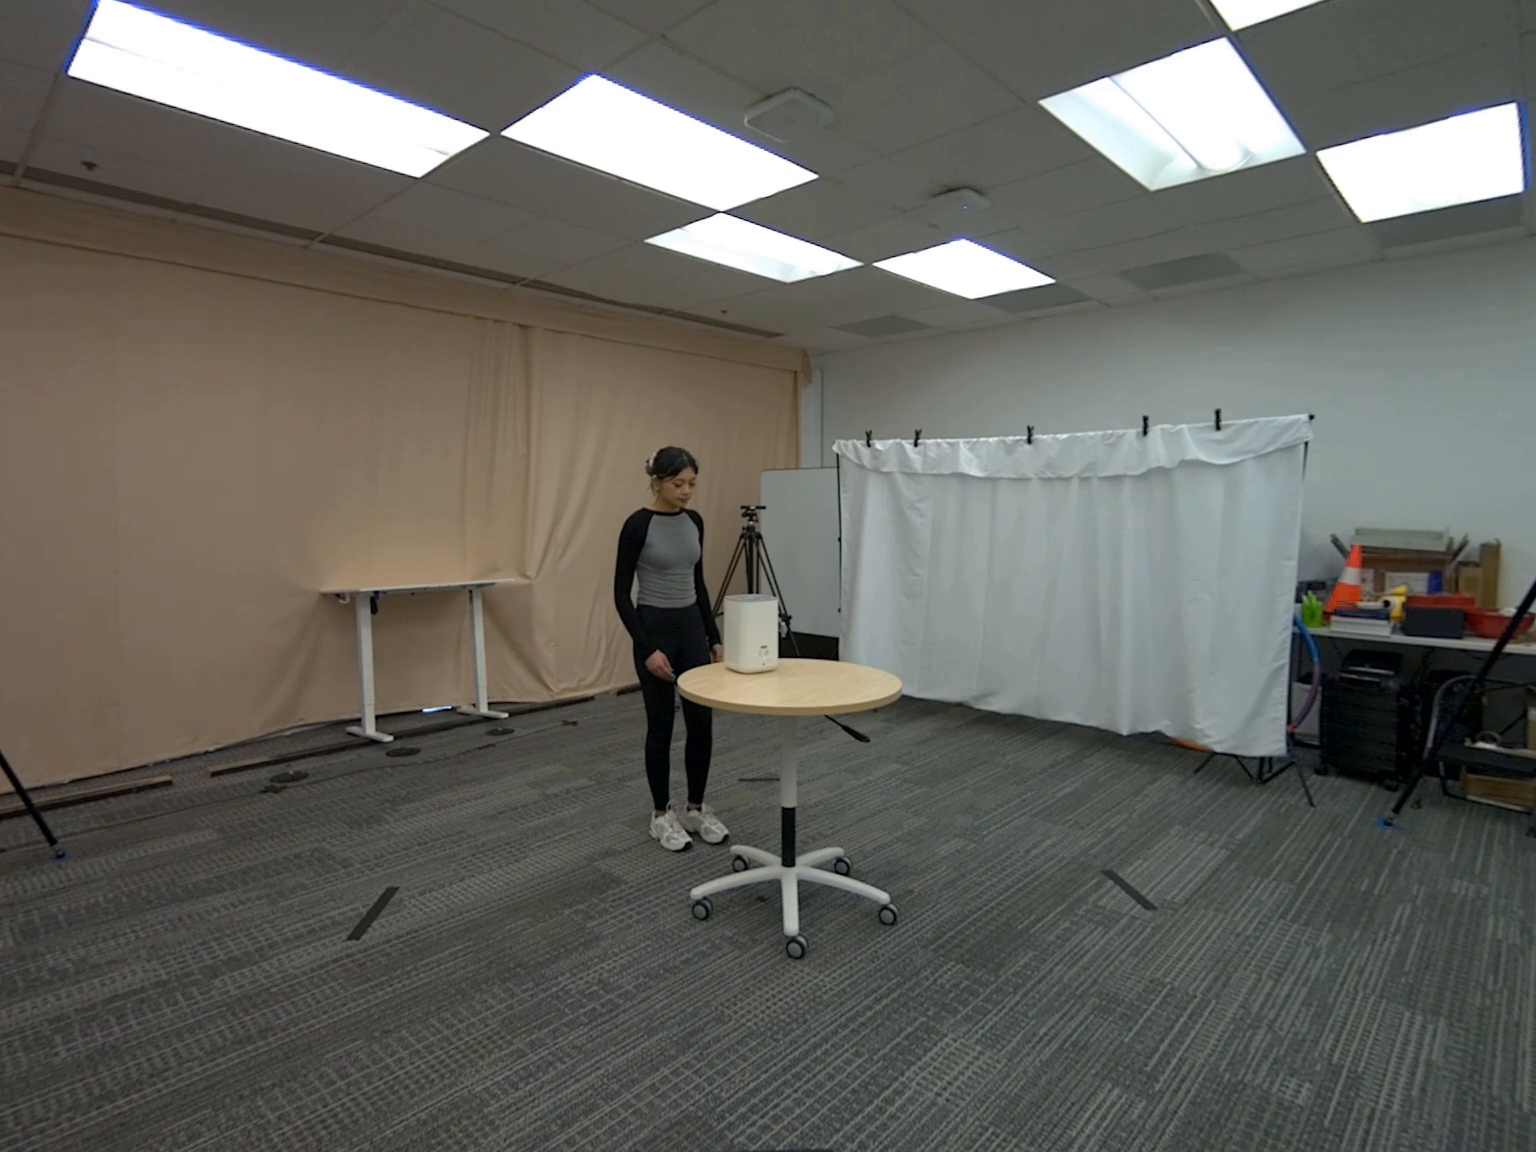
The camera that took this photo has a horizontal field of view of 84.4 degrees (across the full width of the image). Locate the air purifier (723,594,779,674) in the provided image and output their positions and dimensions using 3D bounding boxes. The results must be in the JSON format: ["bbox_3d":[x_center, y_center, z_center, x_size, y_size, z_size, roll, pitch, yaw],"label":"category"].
[{"bbox_3d":[-0.060,0.205,3.060,0.167,0.264,0.176,-4,5,-31],"label":"air purifier"}]
